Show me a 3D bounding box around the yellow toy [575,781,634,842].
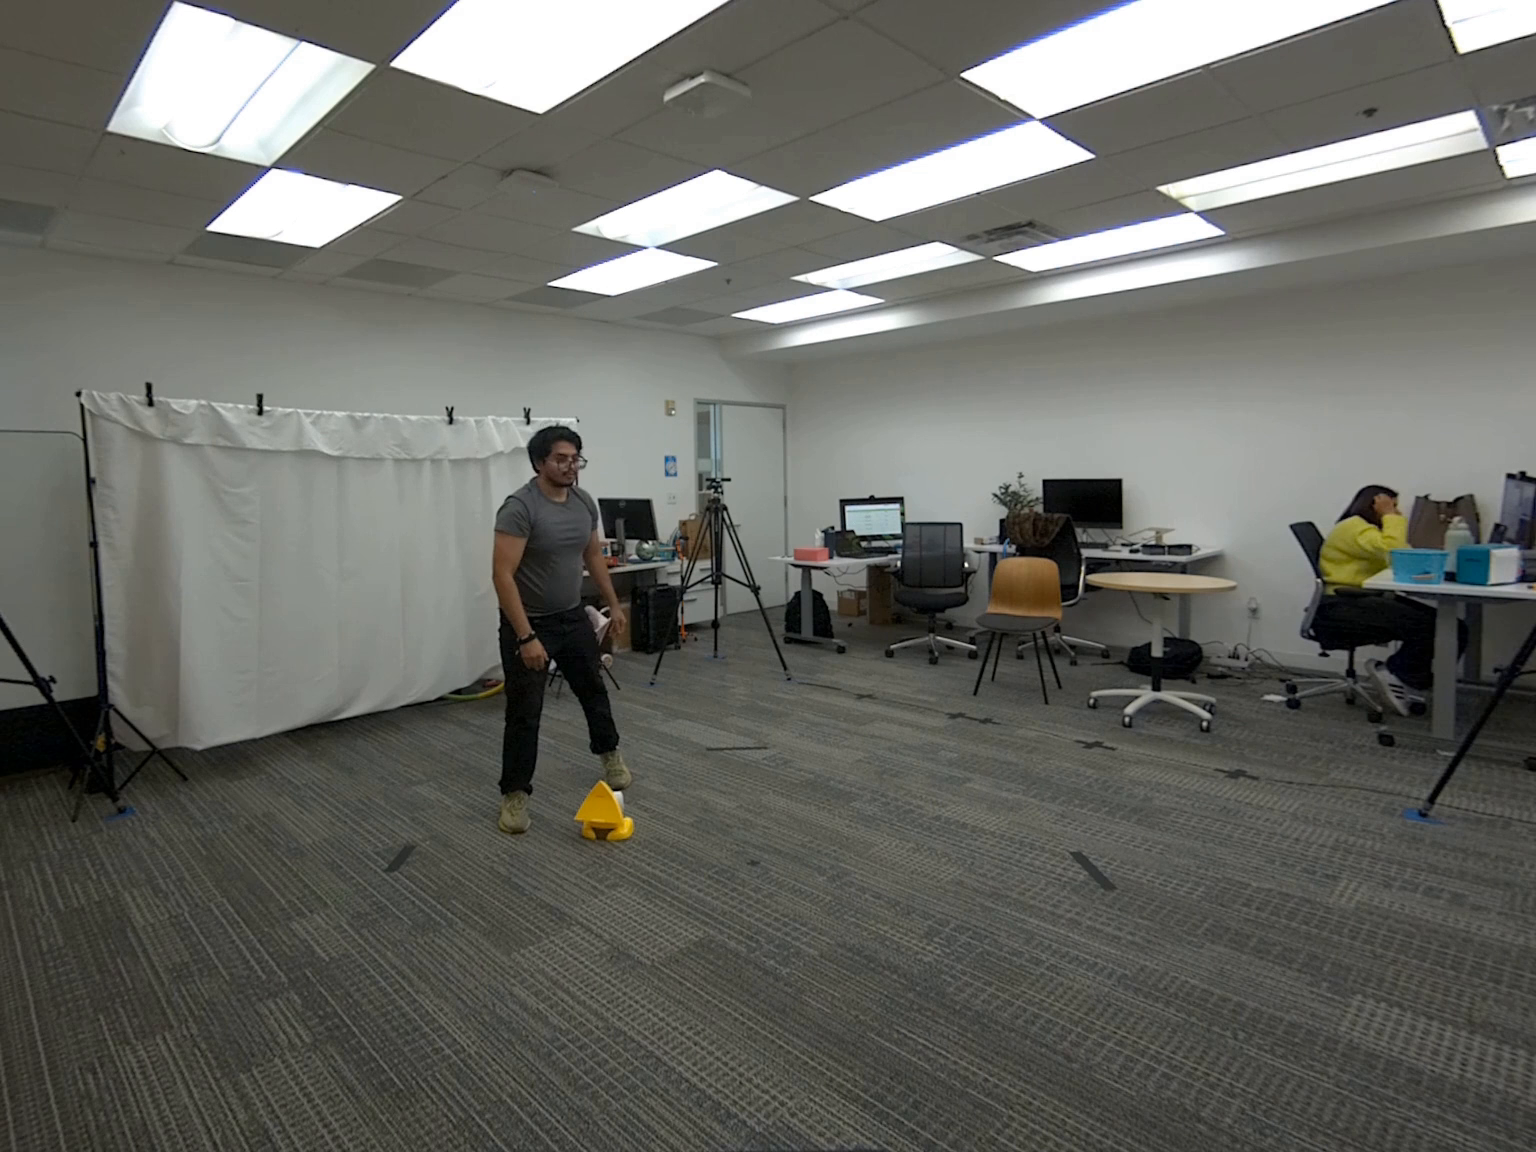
[{"bbox_3d":[-0.638,0.907,3.395,0.207,0.230,0.191,0,5,13],"label":"yellow toy"}]
